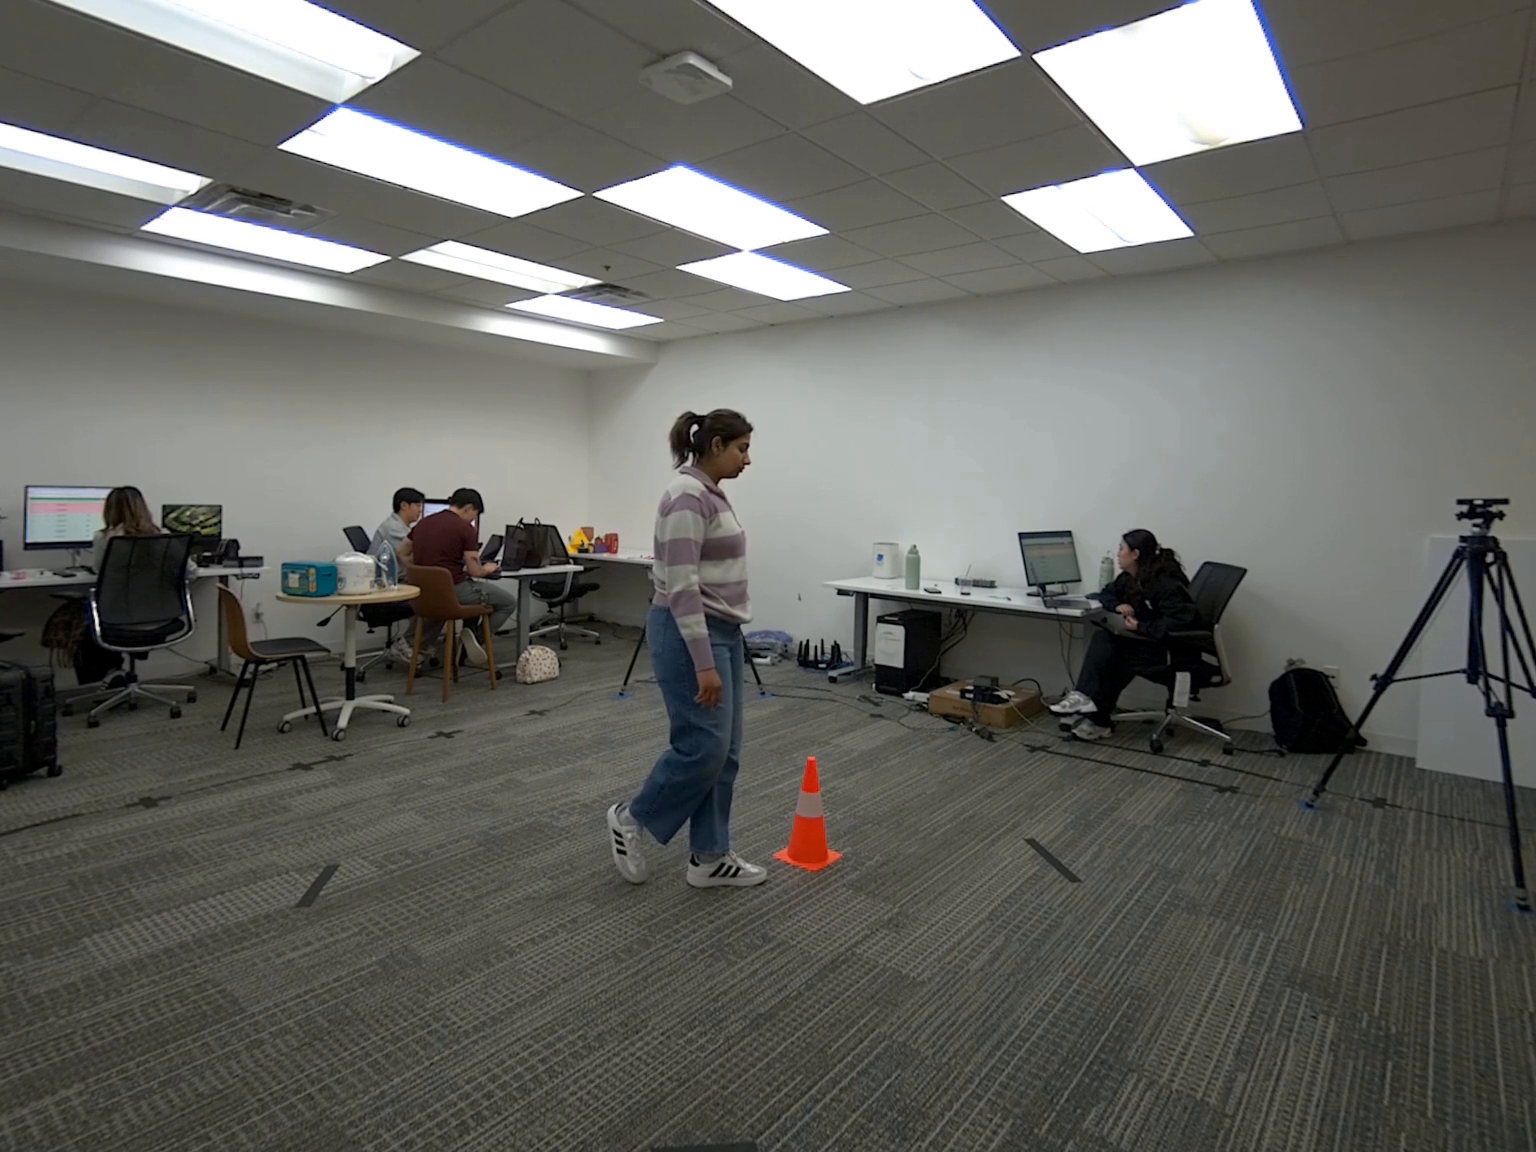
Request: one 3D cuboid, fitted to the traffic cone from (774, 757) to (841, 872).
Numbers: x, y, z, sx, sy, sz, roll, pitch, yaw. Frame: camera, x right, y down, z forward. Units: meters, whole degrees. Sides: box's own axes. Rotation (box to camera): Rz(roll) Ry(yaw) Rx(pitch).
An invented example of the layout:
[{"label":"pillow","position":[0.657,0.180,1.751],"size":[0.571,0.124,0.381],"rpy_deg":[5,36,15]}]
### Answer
[{"label":"traffic cone","position":[0.141,0.877,3.237],"size":[0.209,0.383,0.199],"rpy_deg":[1,4,34]}]
